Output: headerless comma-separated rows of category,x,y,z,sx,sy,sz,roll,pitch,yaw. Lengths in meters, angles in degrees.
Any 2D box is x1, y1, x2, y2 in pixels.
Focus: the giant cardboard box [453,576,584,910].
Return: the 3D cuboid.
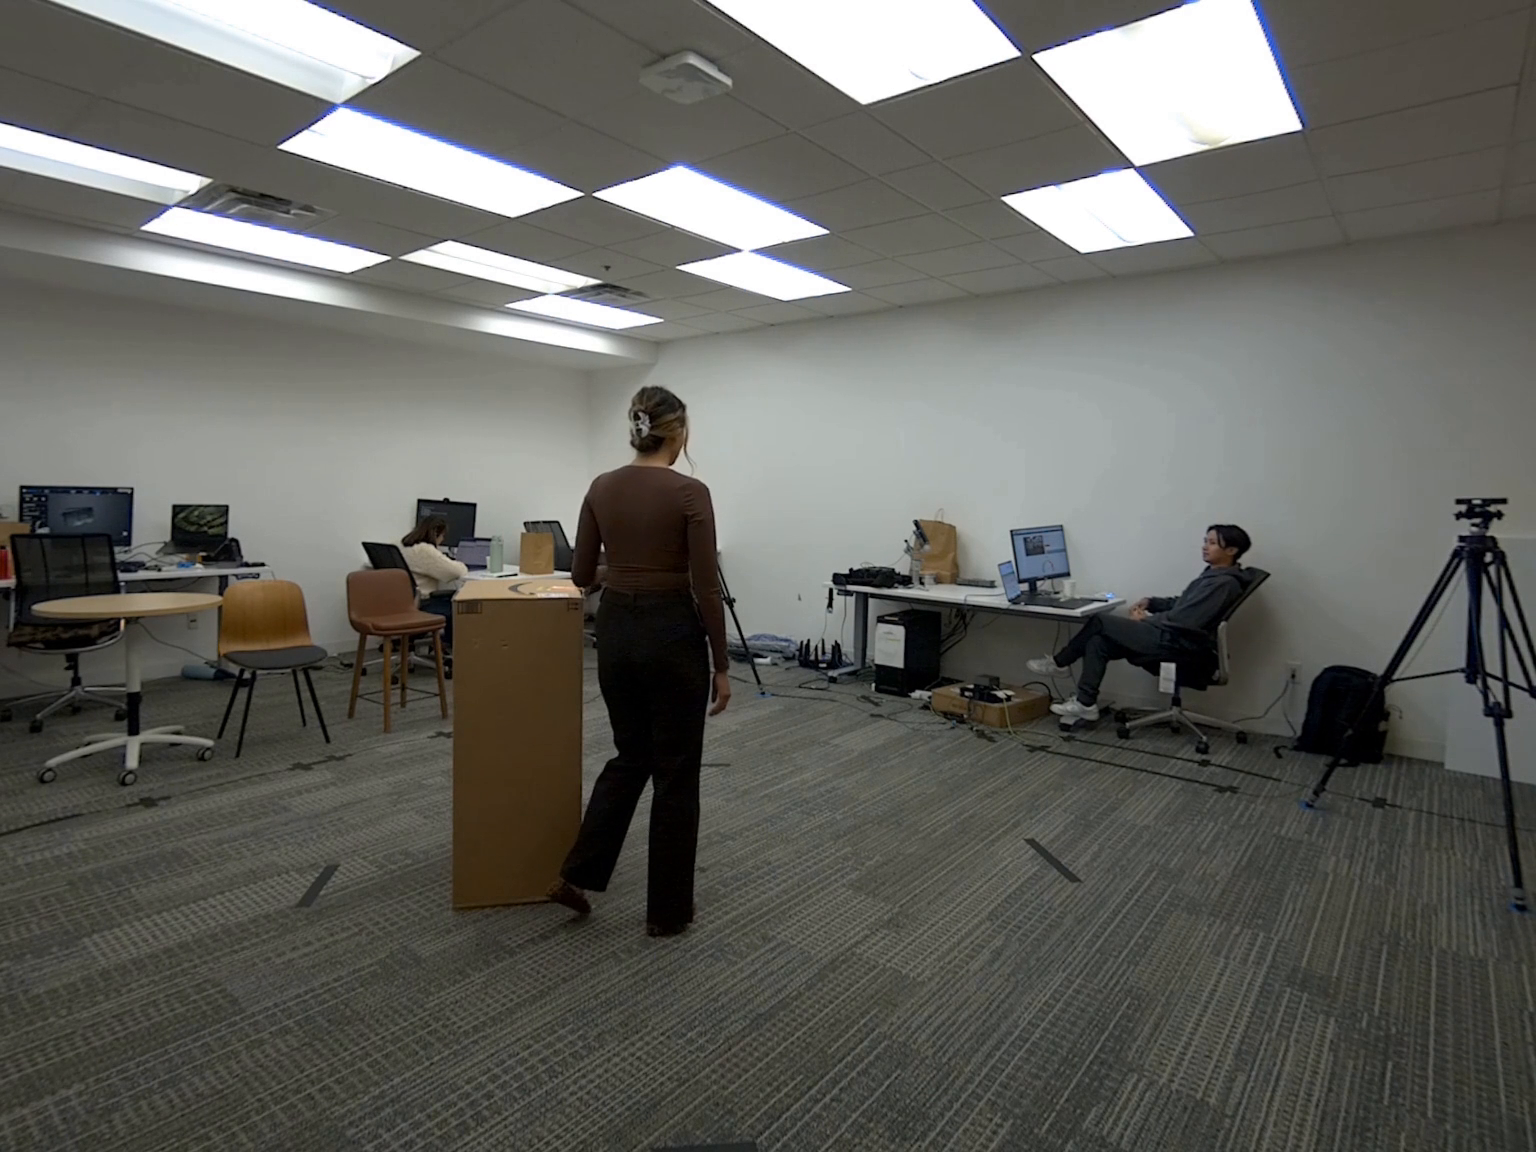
giant cardboard box,-0.915,0.550,3.081,0.440,1.024,0.595,0,3,-16
